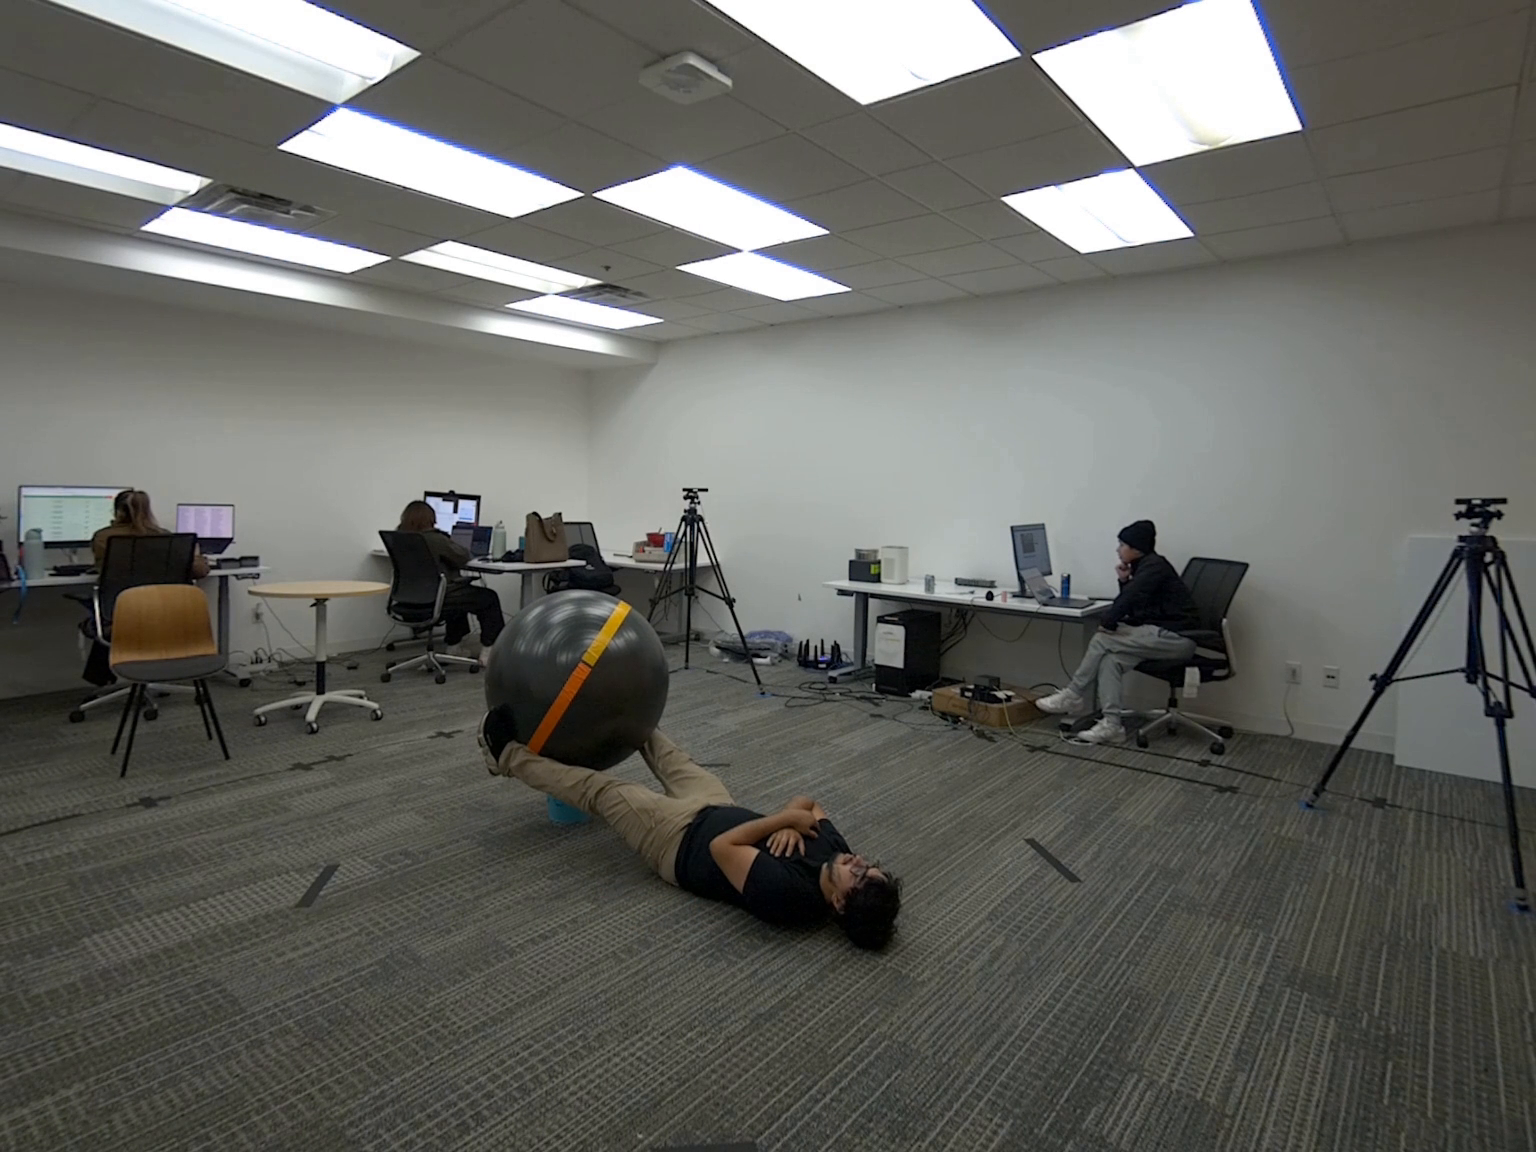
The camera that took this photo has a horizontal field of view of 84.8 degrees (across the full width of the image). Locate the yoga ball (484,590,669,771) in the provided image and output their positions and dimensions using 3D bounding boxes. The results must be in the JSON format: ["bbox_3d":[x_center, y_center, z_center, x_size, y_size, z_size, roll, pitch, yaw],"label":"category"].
[{"bbox_3d":[-0.804,0.436,3.549,0.757,0.755,0.762,1,4,-2],"label":"yoga ball"}]
